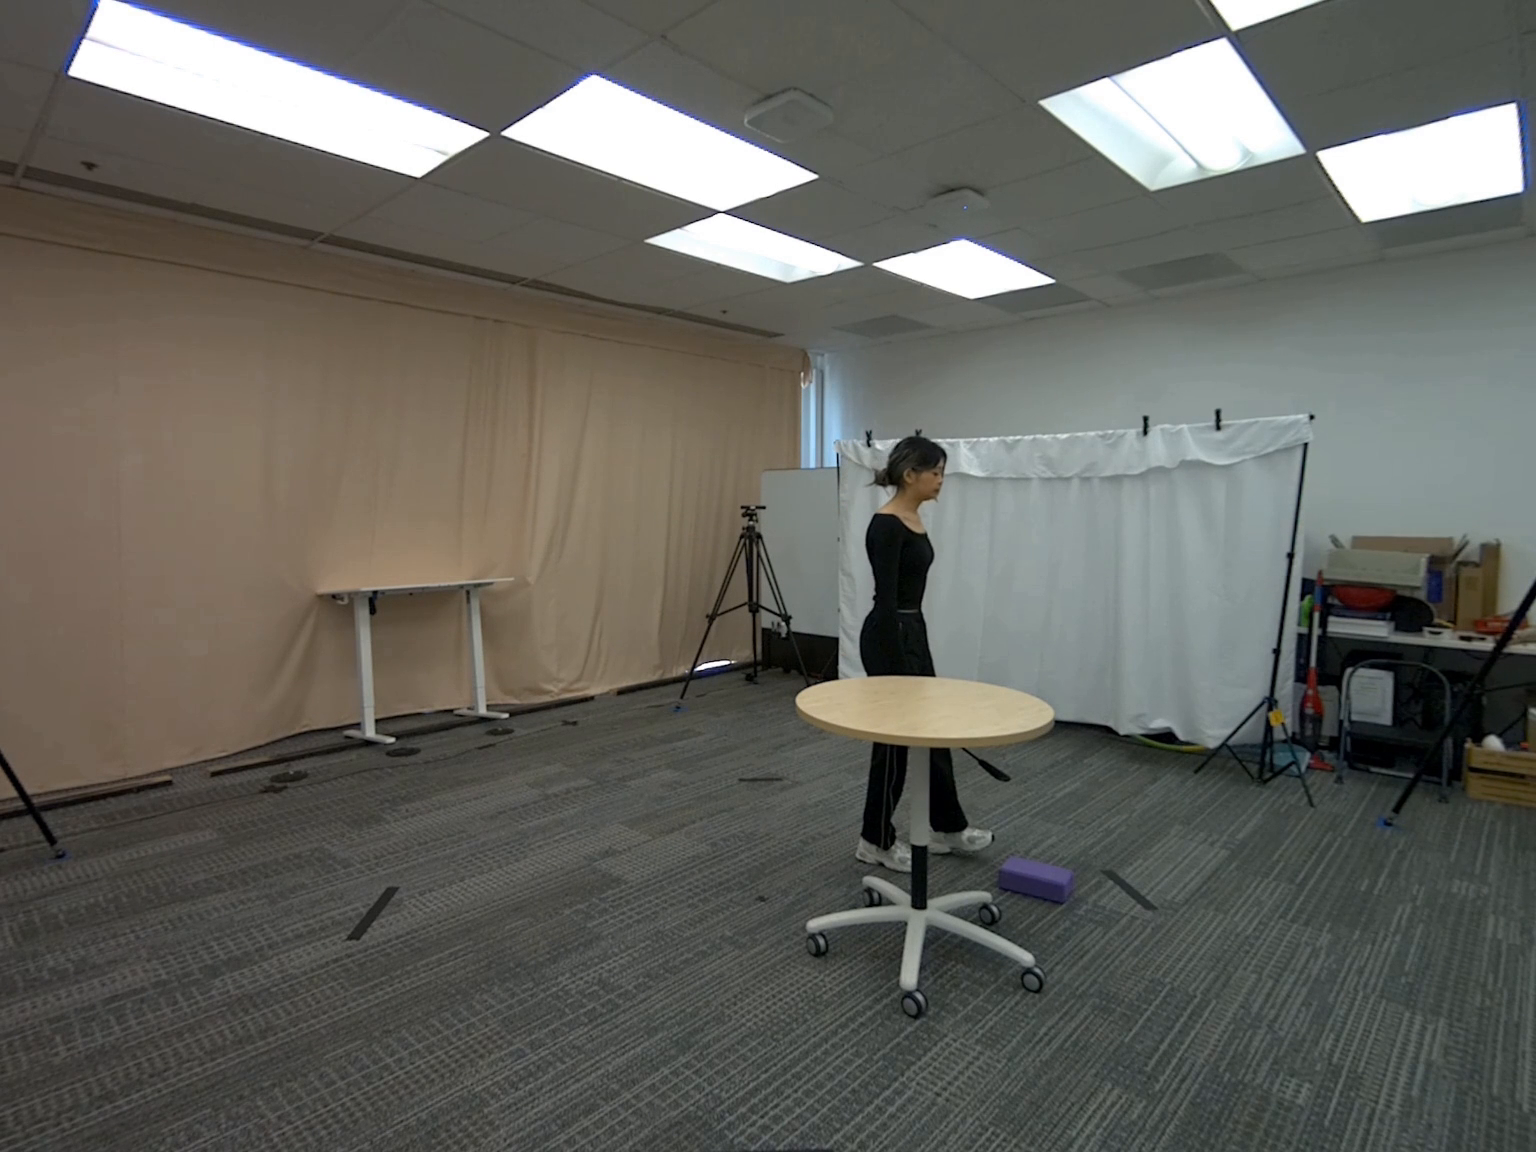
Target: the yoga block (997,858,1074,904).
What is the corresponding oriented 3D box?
[{"bbox_3d":[0.974,1.096,3.047,0.236,0.076,0.145,4,5,33],"label":"yoga block"}]
